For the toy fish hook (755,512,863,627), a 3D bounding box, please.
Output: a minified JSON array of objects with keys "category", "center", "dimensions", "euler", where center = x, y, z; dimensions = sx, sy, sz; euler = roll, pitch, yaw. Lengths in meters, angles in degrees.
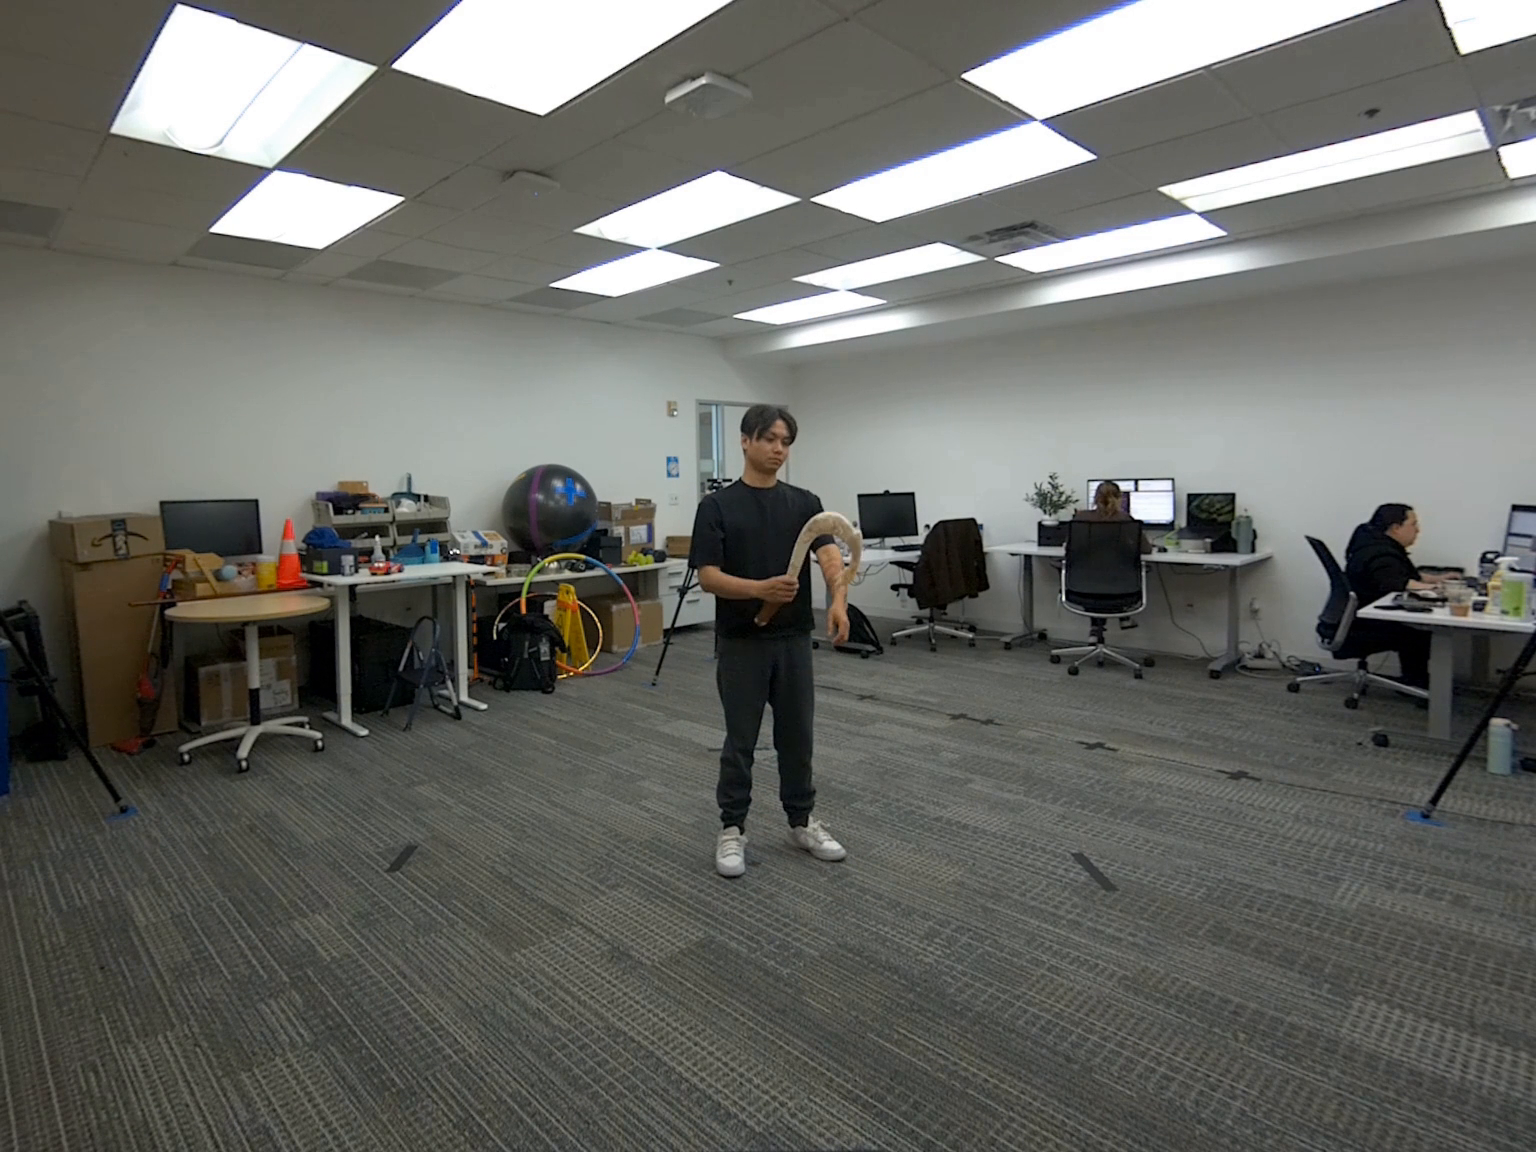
[{"category":"toy fish hook","center":[0.129,0.033,2.769],"dimensions":[0.047,0.503,0.231],"euler":[-10,50,-51]}]
